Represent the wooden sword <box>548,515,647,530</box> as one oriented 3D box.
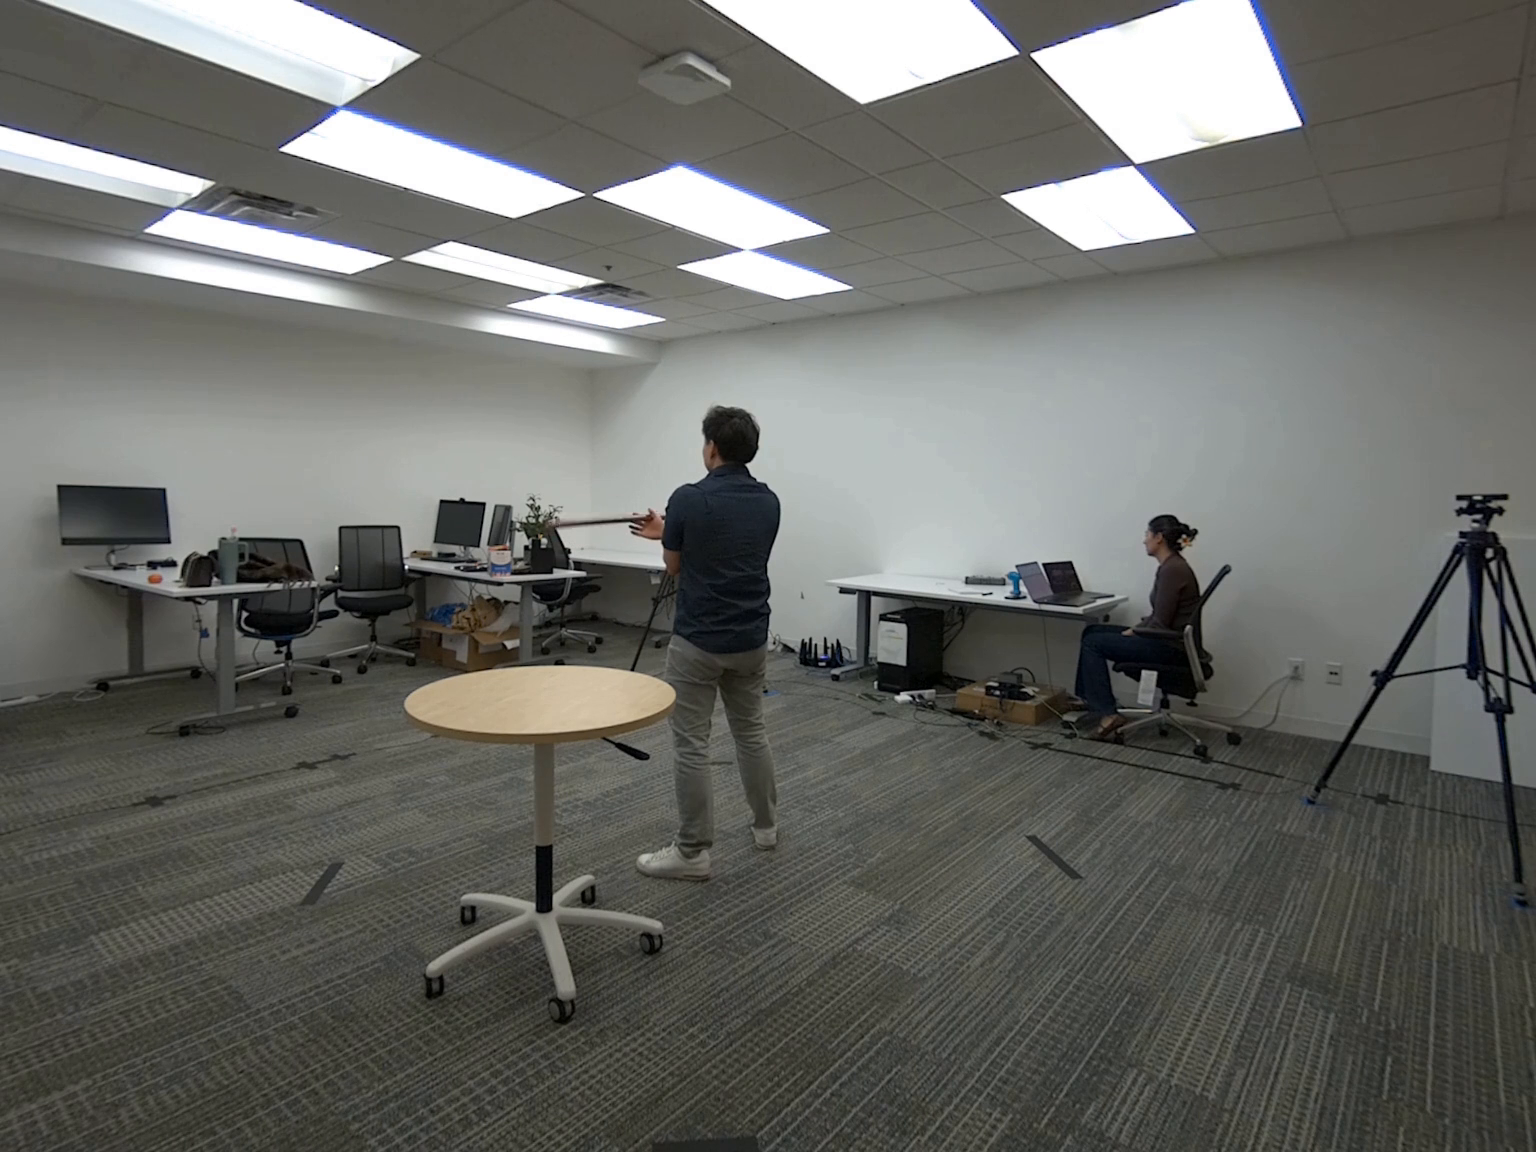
[{"bbox_3d":[-0.457,-0.233,3.415,0.996,0.024,0.053,-8,13,-41],"label":"wooden sword"}]
